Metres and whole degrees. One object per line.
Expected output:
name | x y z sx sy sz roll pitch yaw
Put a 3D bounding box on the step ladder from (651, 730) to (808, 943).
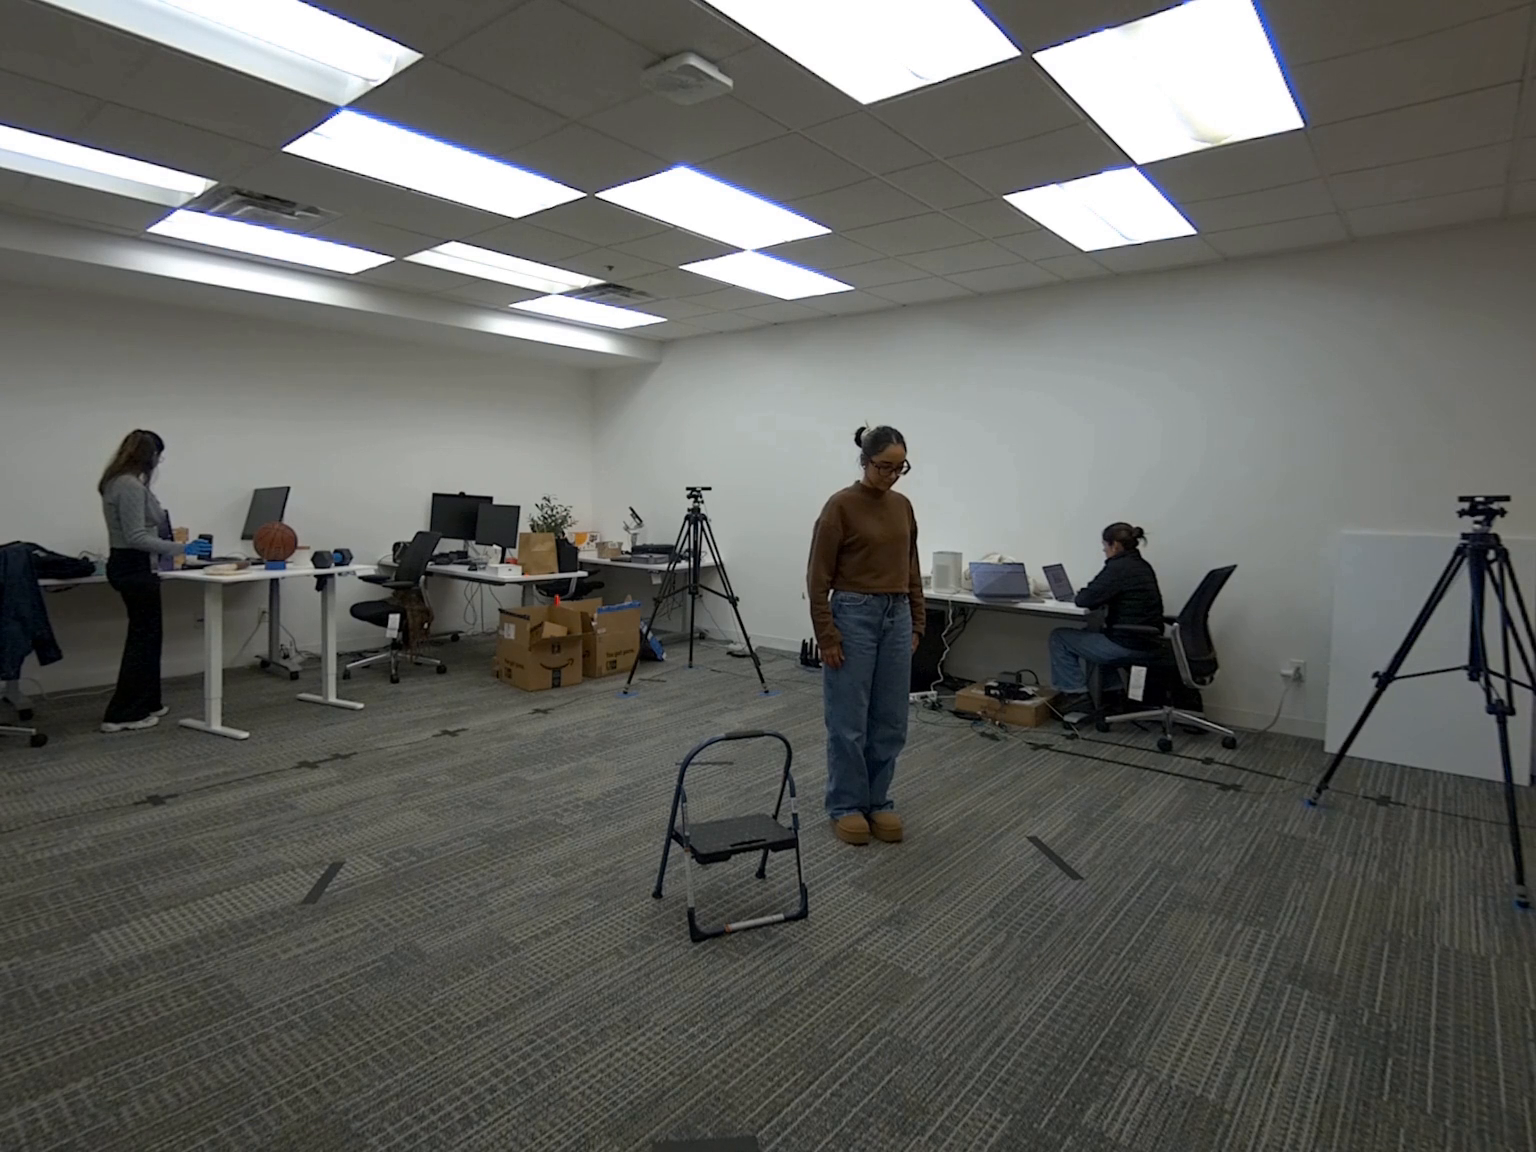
step ladder | -0.133 0.794 2.814 0.420 0.604 0.359 -1 4 -27
